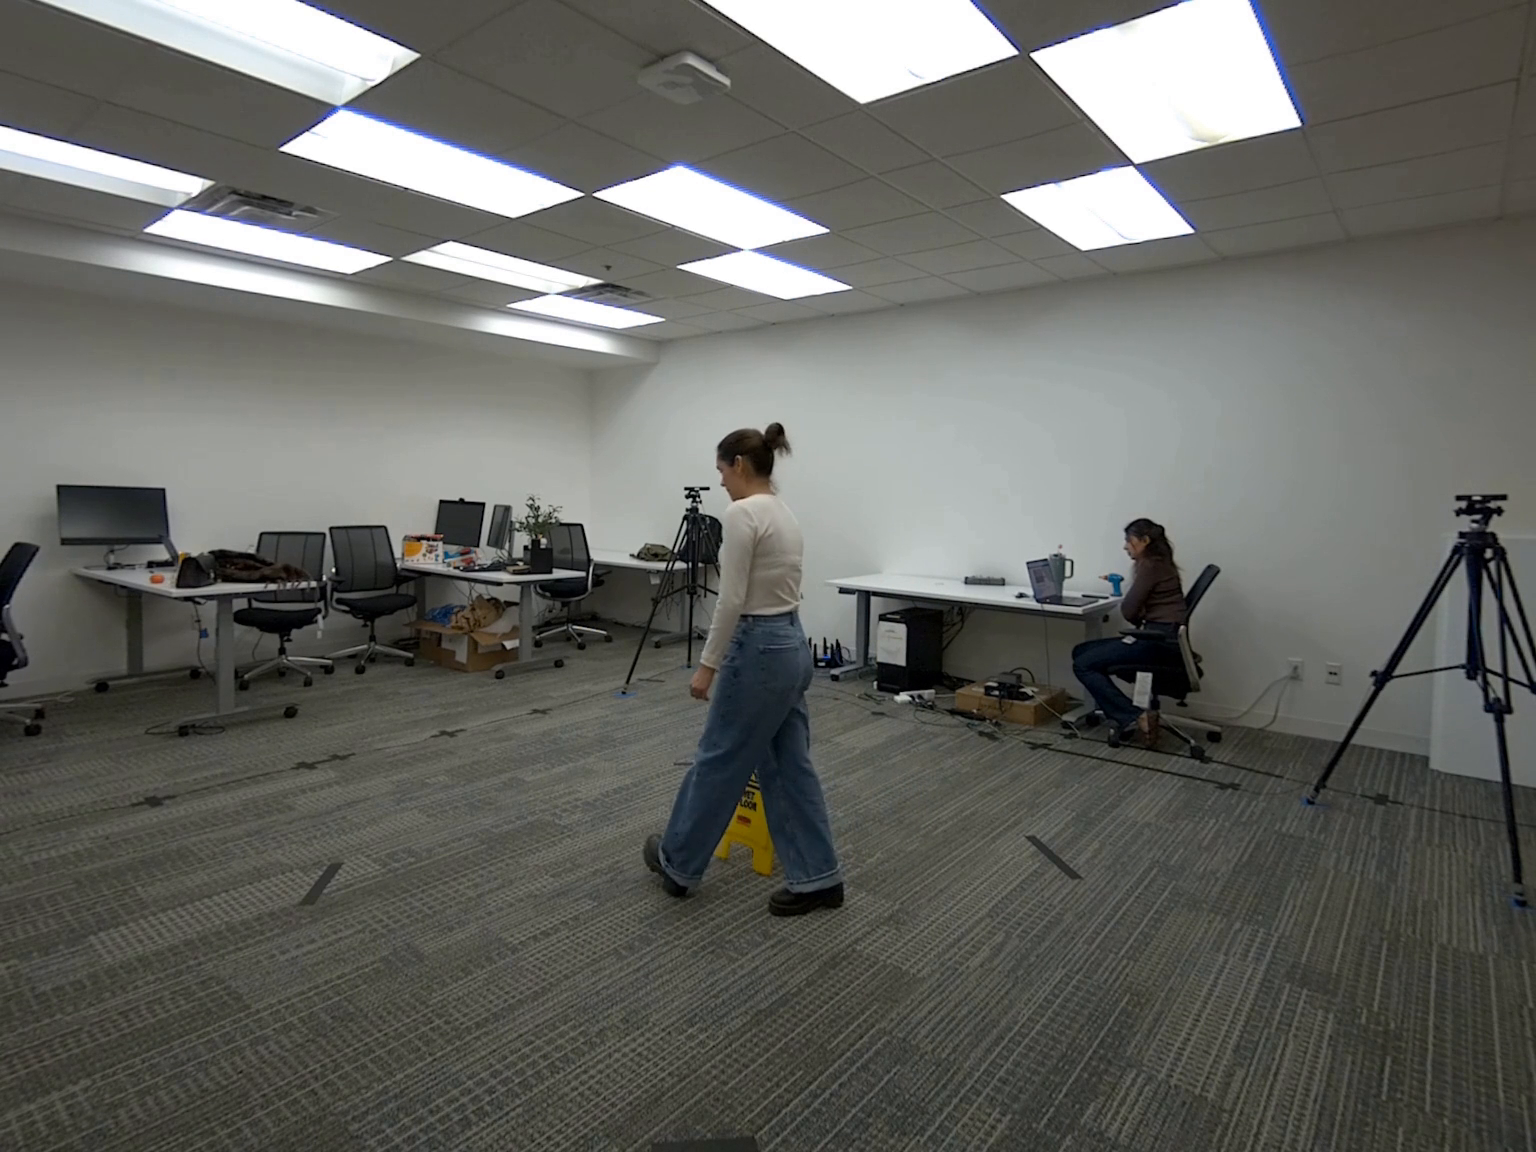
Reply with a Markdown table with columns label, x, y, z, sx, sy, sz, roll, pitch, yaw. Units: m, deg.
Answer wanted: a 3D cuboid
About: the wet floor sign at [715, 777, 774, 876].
| label | x | y | z | sx | sy | sz | roll | pitch | yaw |
| --- | --- | --- | --- | --- | --- | --- | --- | --- | --- |
| wet floor sign | -0.021 | 0.726 | 3.236 | 0.292 | 0.645 | 0.281 | 3 | 3 | 39 |
